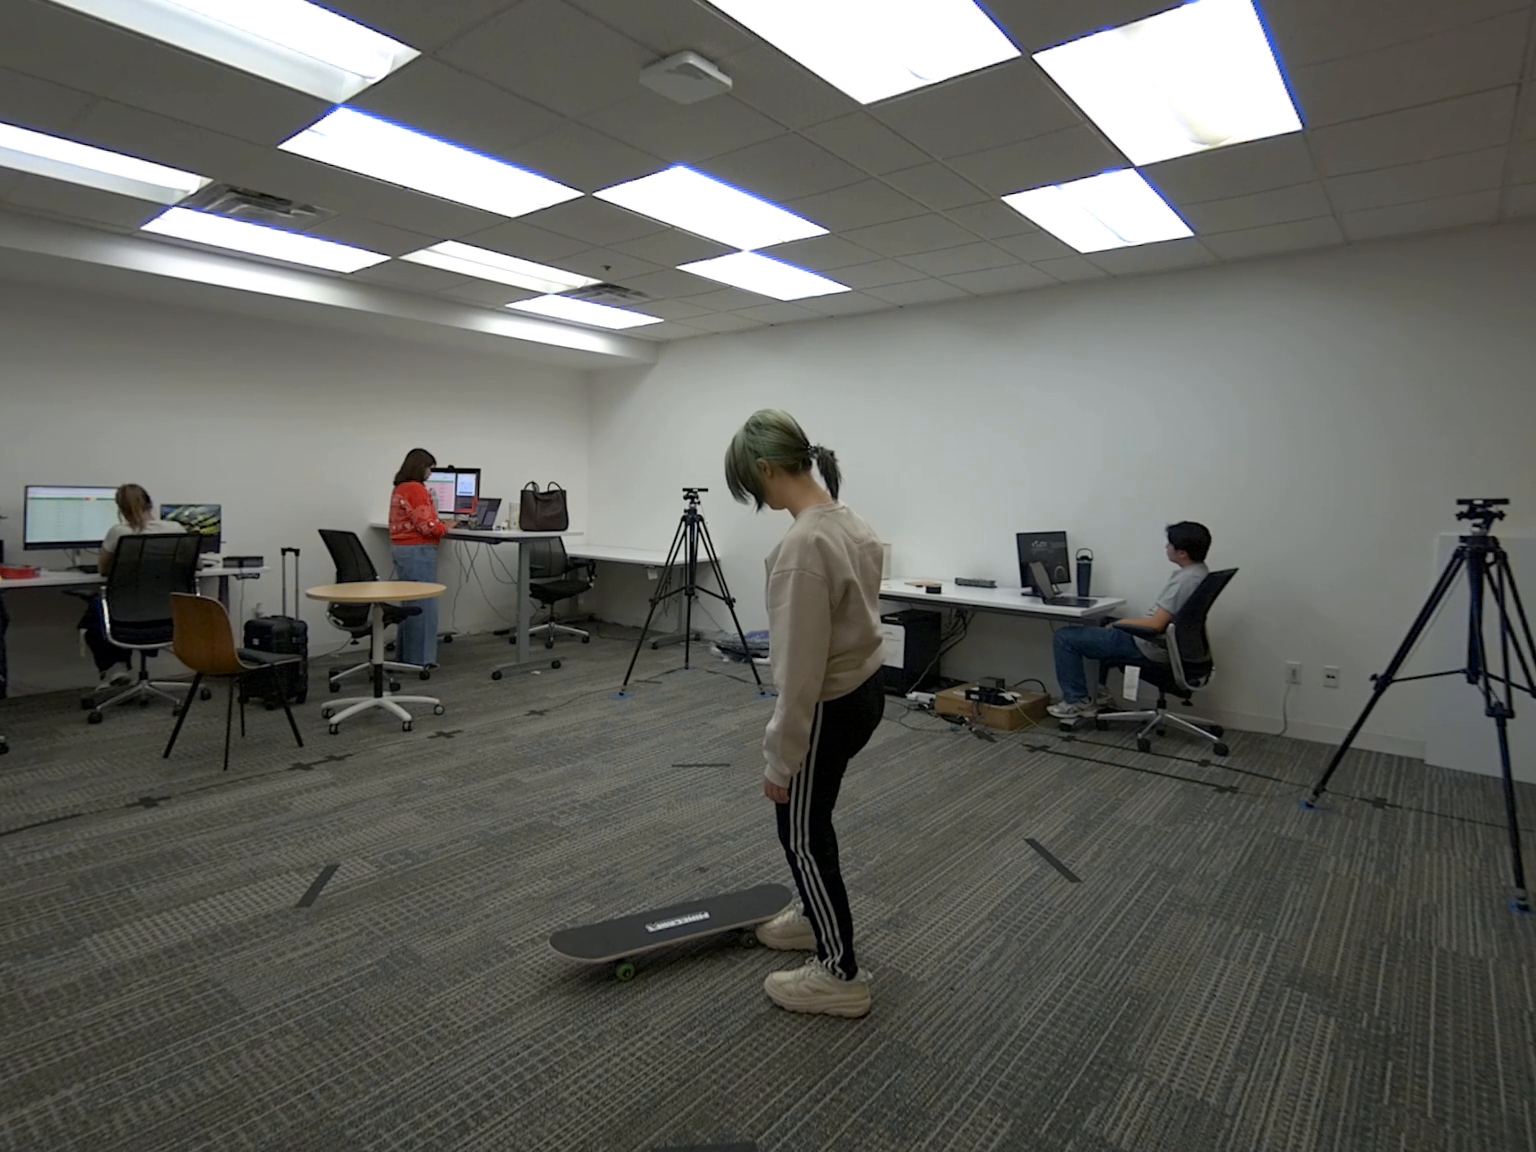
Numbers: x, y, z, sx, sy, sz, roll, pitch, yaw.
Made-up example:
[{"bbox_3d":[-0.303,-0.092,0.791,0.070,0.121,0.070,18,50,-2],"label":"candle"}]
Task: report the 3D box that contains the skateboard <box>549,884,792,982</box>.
[{"bbox_3d":[-0.276,1.069,2.553,0.765,0.110,0.199,-2,5,-28],"label":"skateboard"}]
